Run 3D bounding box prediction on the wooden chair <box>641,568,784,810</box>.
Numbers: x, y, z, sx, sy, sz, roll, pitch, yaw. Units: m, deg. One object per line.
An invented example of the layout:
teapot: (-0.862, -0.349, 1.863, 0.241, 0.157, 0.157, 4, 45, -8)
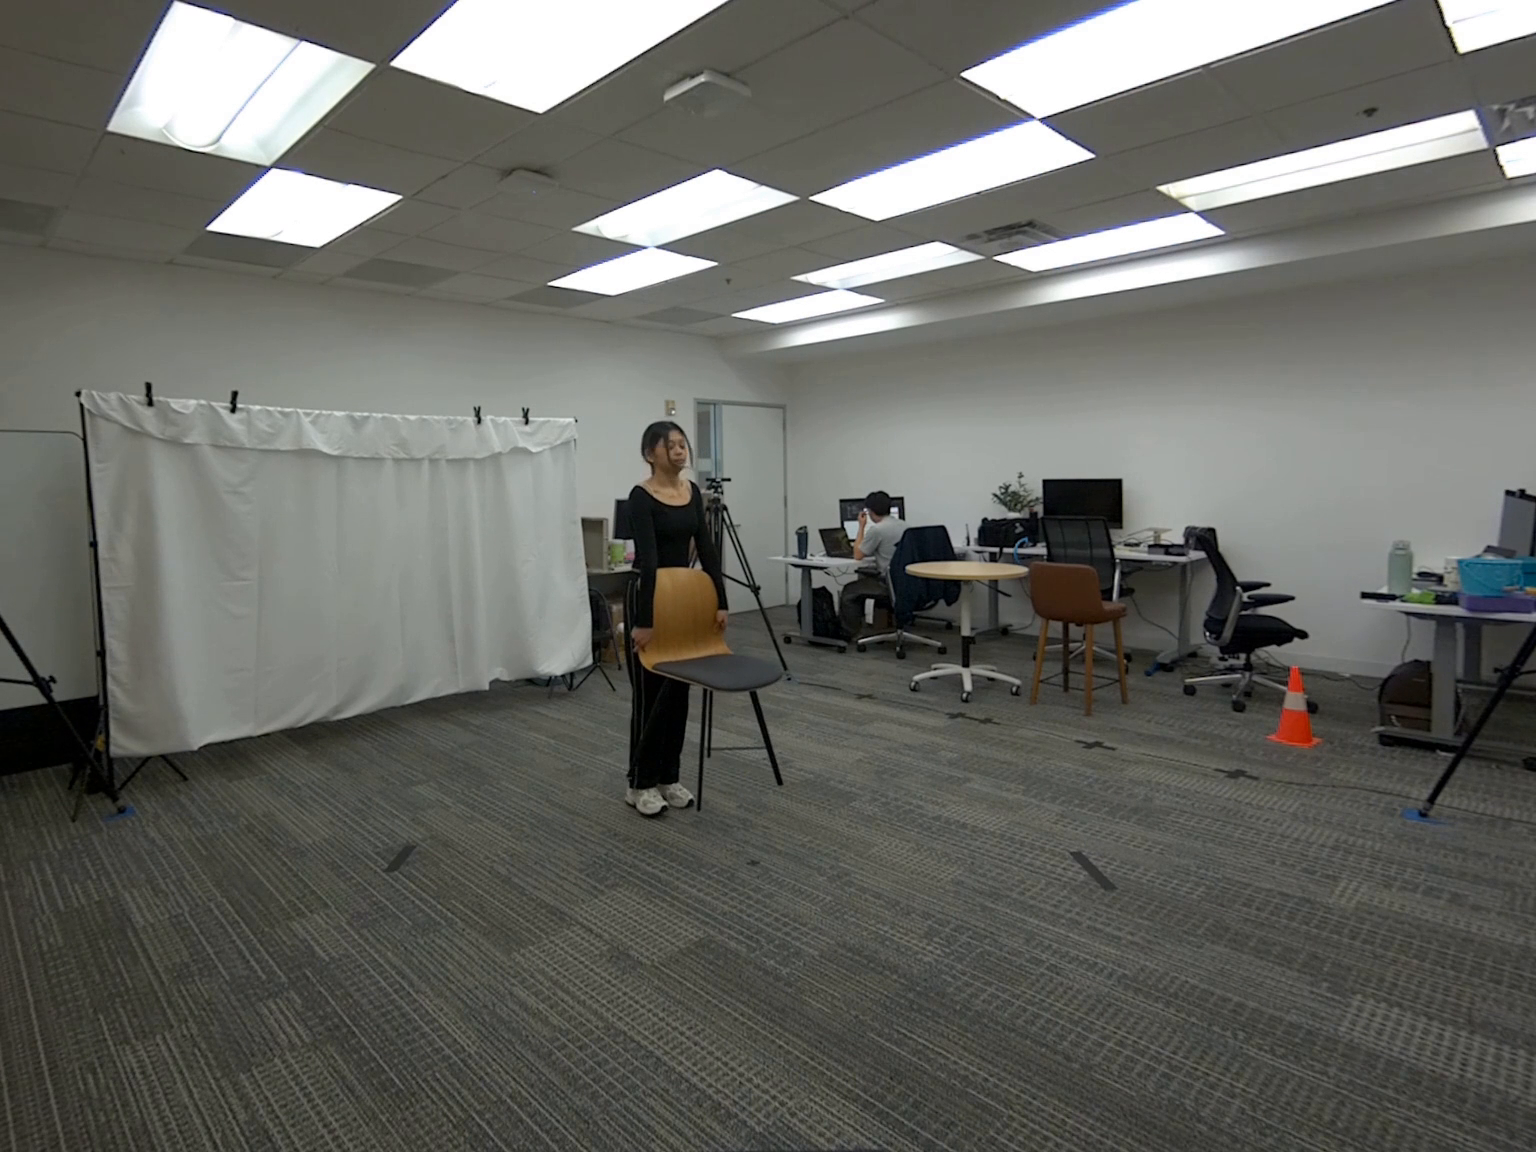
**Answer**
wooden chair: (-0.234, 0.418, 3.427, 0.464, 0.877, 0.538, -1, 1, -44)
